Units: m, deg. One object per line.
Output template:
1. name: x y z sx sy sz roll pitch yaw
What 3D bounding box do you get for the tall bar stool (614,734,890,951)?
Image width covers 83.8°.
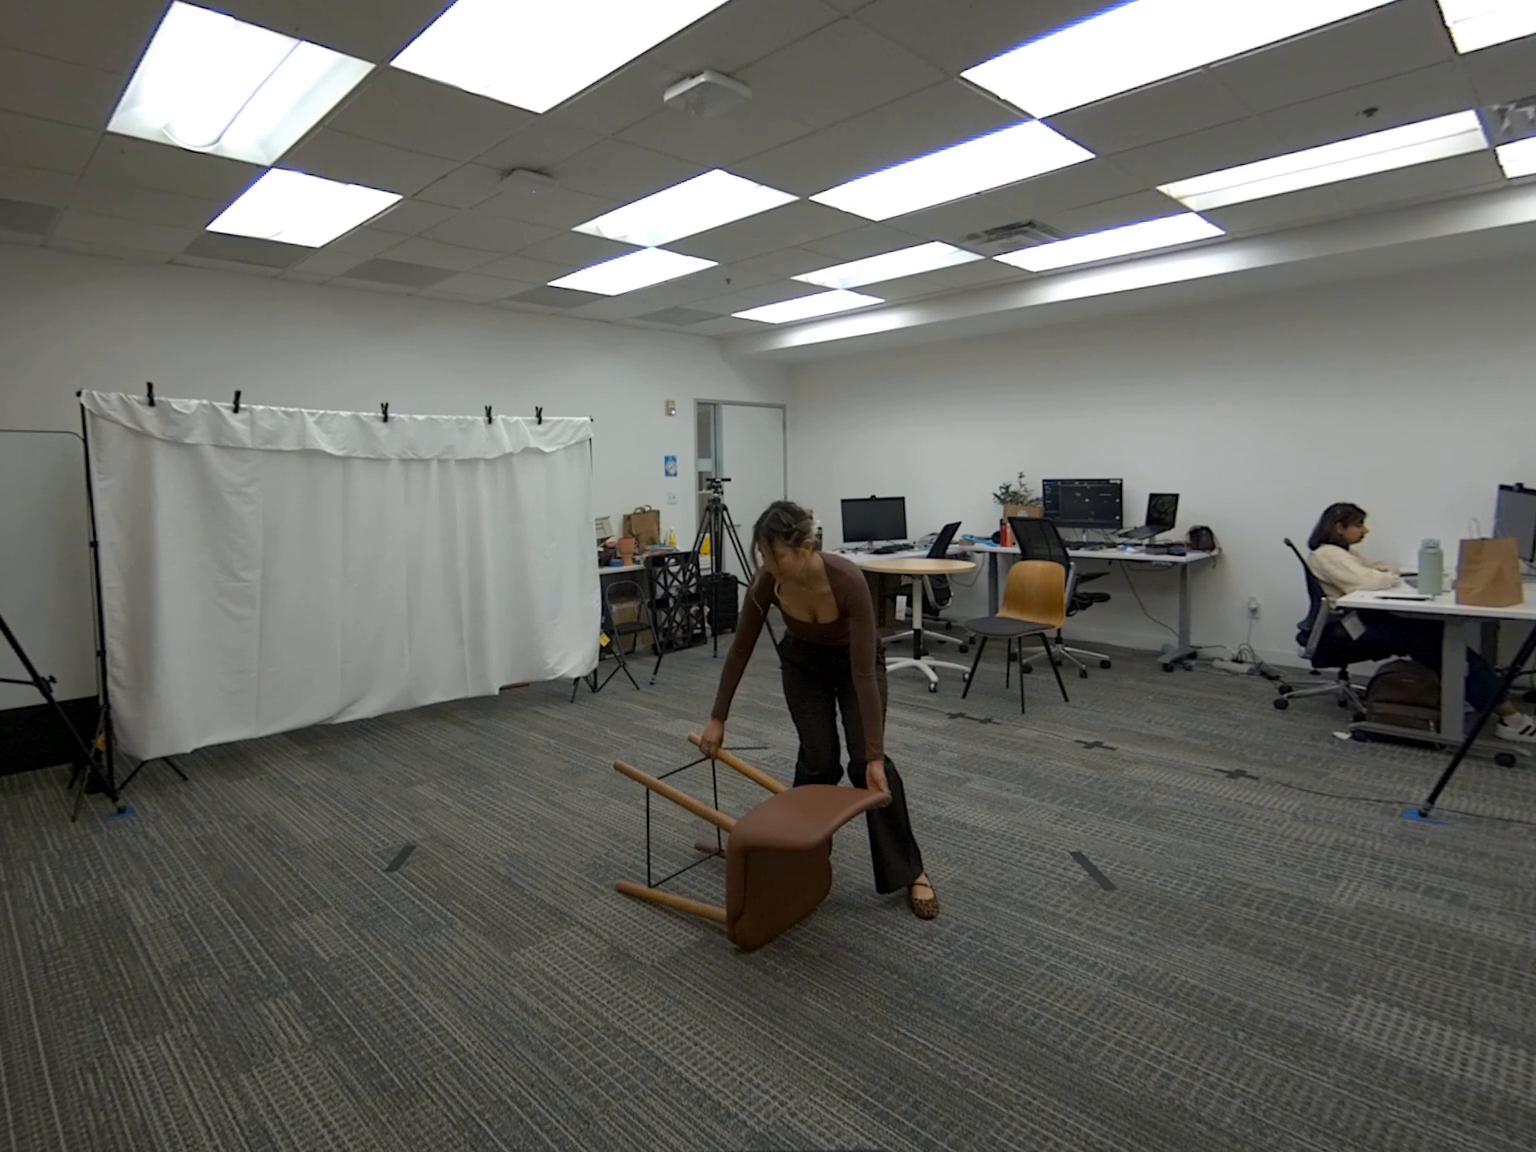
1. tall bar stool: -0.054 0.853 2.733 0.917 0.465 0.445 3 8 42
